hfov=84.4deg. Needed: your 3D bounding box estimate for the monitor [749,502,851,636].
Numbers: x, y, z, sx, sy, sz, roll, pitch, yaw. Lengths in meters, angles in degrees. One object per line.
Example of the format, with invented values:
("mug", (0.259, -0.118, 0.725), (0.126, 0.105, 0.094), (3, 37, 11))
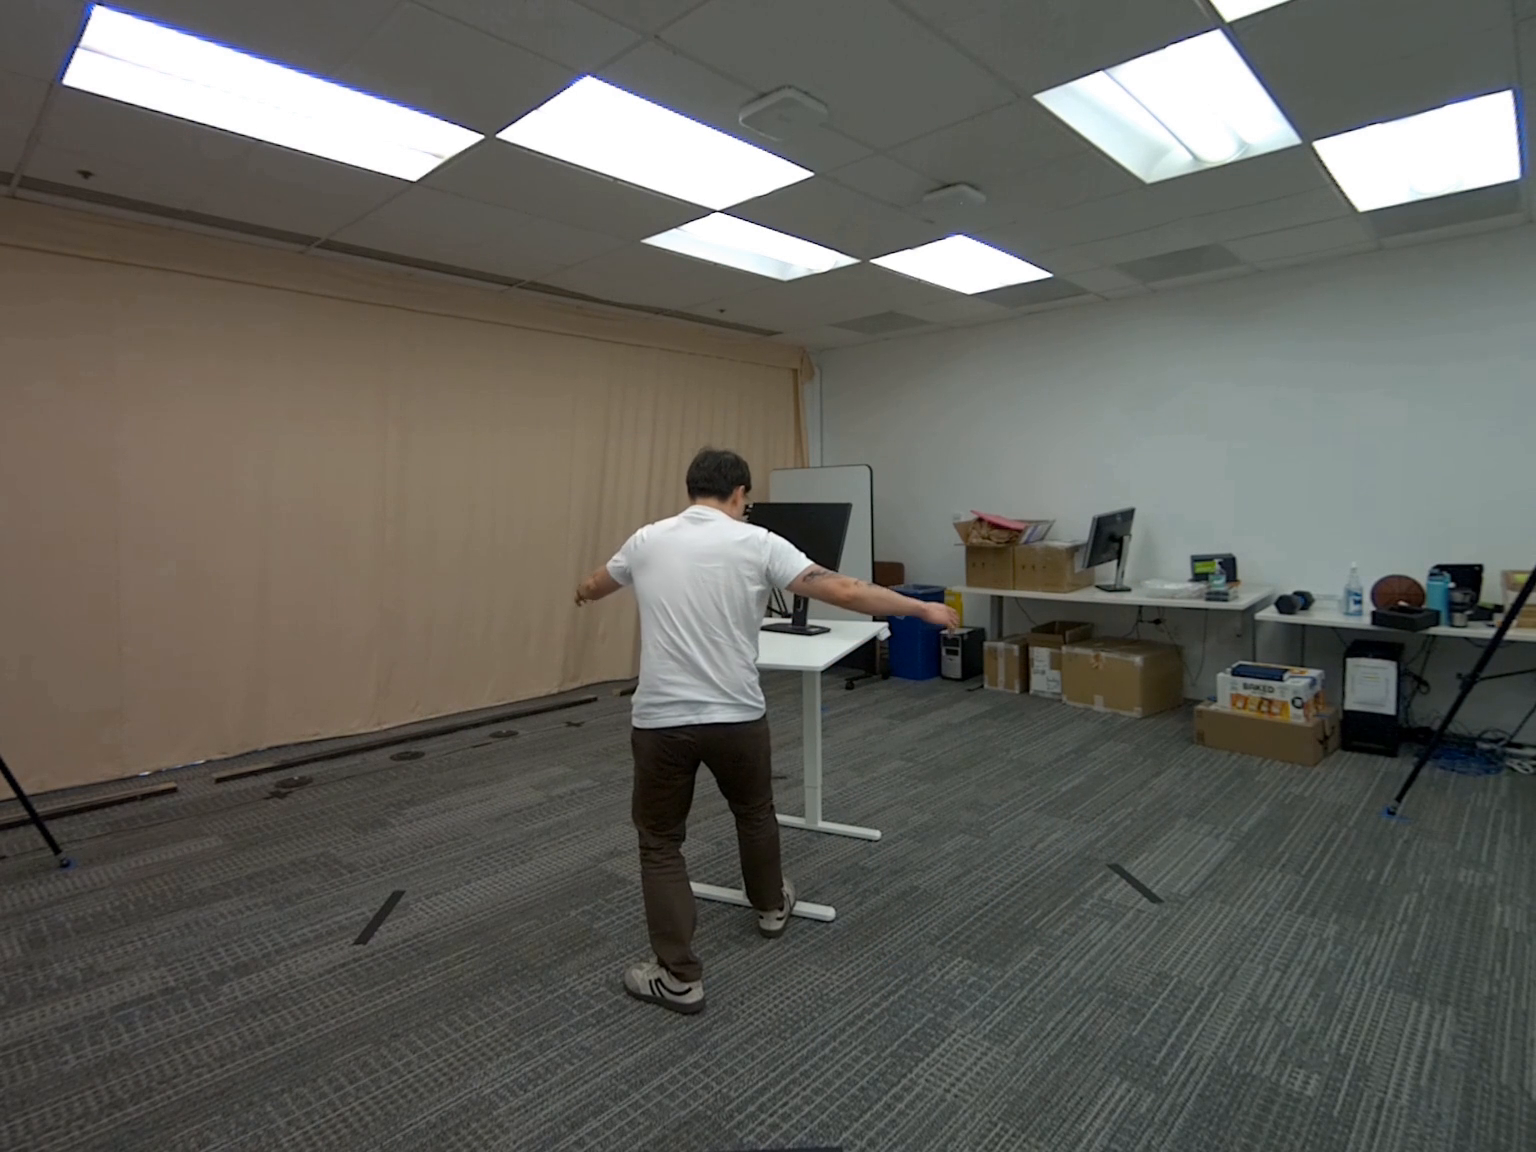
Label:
("monitor", (0.116, -0.034, 3.394), (0.557, 0.522, 0.181), (4, 2, 44))
